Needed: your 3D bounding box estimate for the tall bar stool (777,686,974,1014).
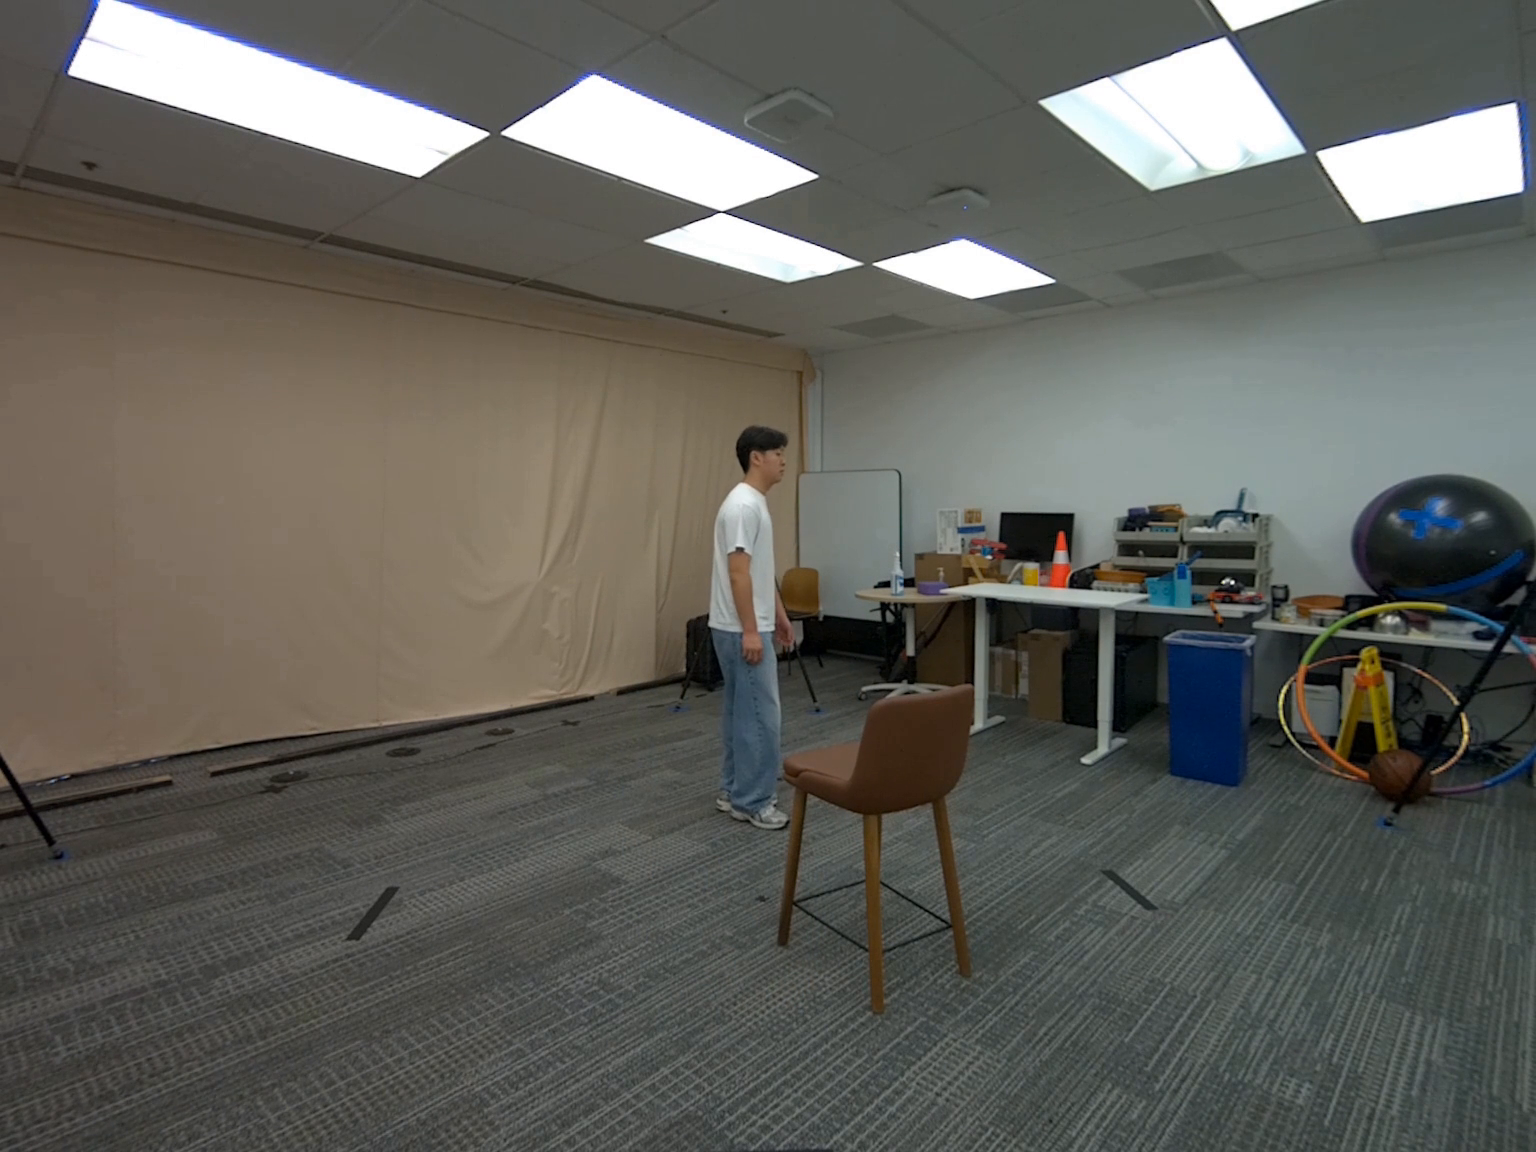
[{"bbox_3d":[0.333,0.742,2.561,0.443,0.887,0.482,-2,6,-34],"label":"tall bar stool"}]
